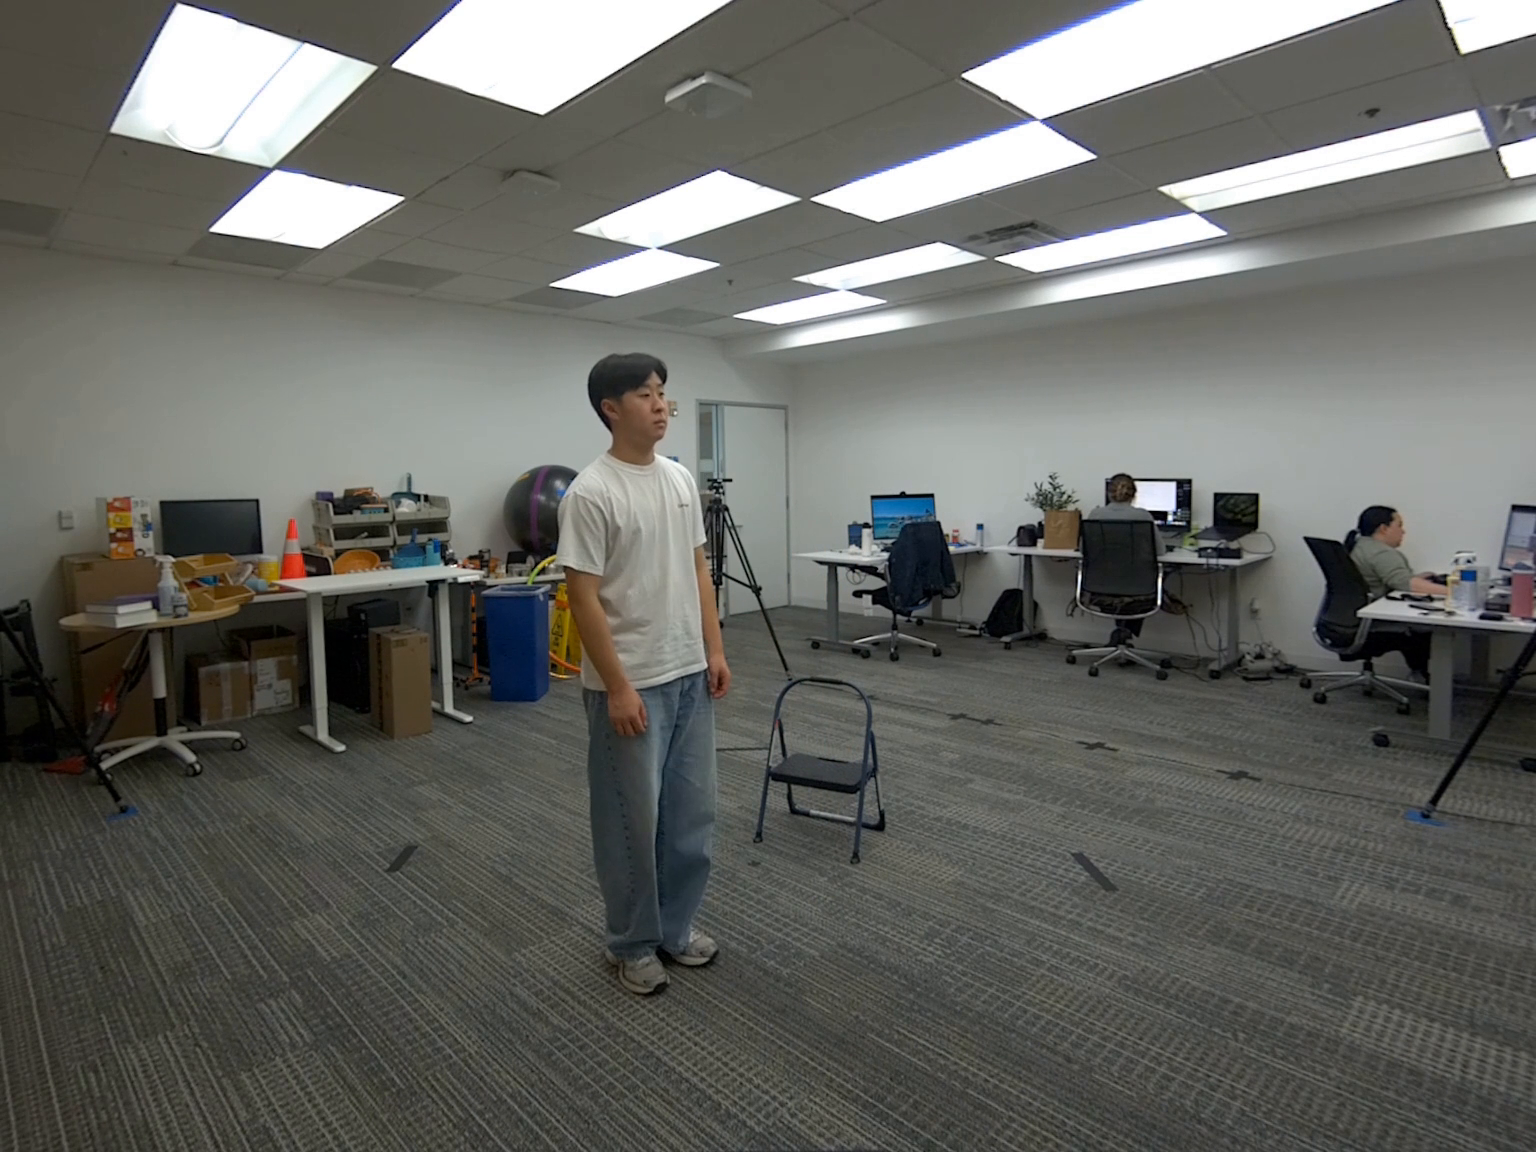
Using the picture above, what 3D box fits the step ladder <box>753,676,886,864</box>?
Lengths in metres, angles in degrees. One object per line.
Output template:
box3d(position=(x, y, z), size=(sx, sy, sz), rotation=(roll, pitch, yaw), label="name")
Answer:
box3d(position=(0.207, 0.713, 3.320), size=(0.441, 0.604, 0.342), rotation=(2, 5, 28), label="step ladder")
